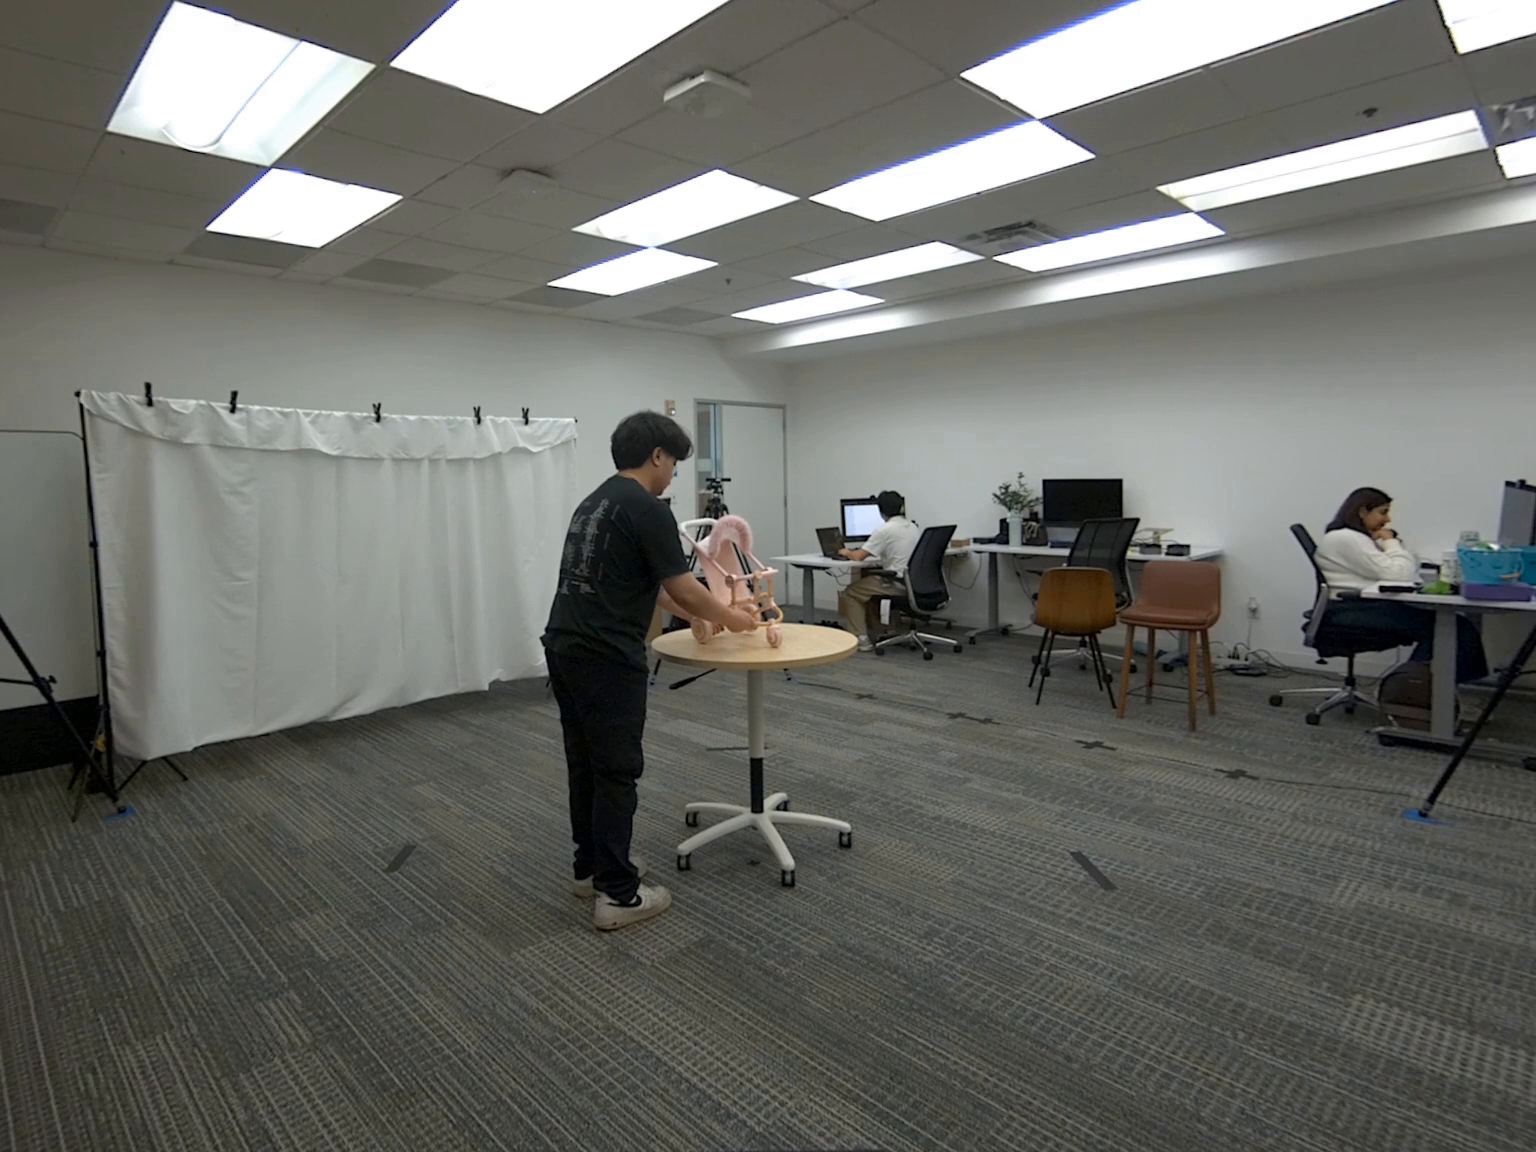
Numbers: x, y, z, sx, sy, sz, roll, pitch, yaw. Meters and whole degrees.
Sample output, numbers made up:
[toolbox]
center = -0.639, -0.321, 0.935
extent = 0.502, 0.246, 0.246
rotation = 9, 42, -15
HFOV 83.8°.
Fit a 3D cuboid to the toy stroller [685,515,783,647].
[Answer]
[toy stroller]
center = -0.116, 0.013, 3.166
extent = 0.274, 0.538, 0.347
rotation = -8, -7, -39
